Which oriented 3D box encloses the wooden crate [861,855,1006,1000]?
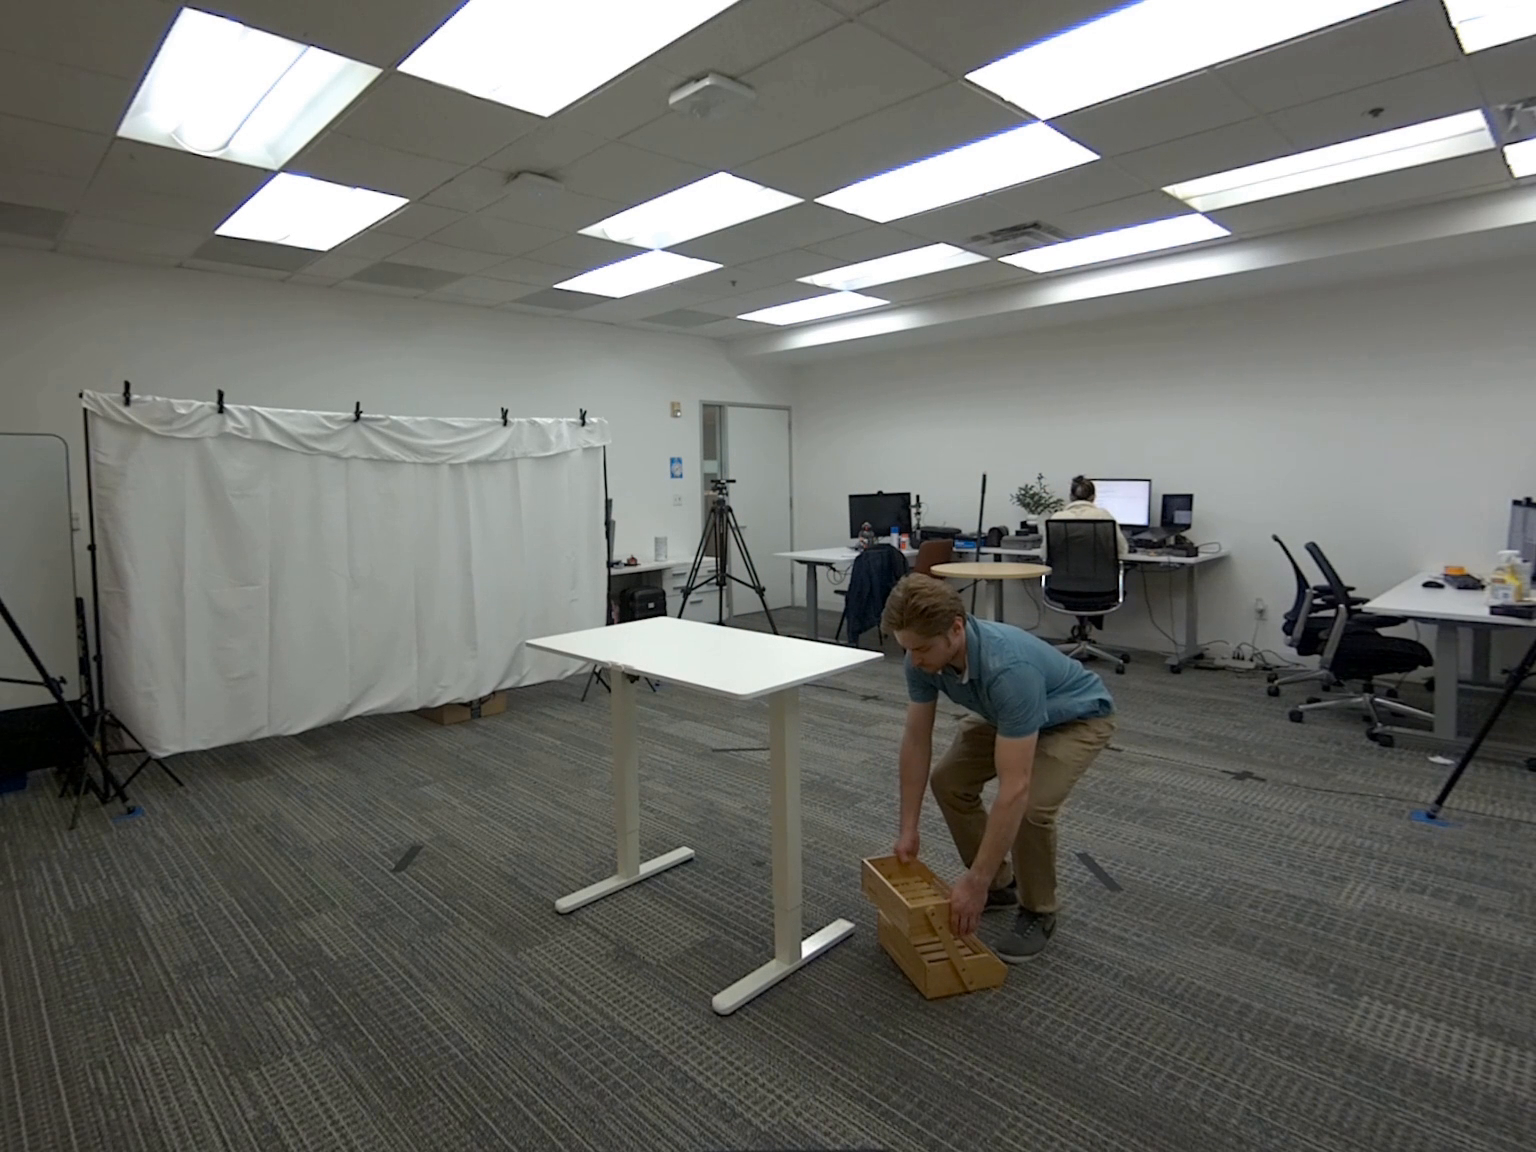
[{"bbox_3d":[0.480,0.971,2.435,0.297,0.272,0.331,-3,6,-17],"label":"wooden crate"}]
